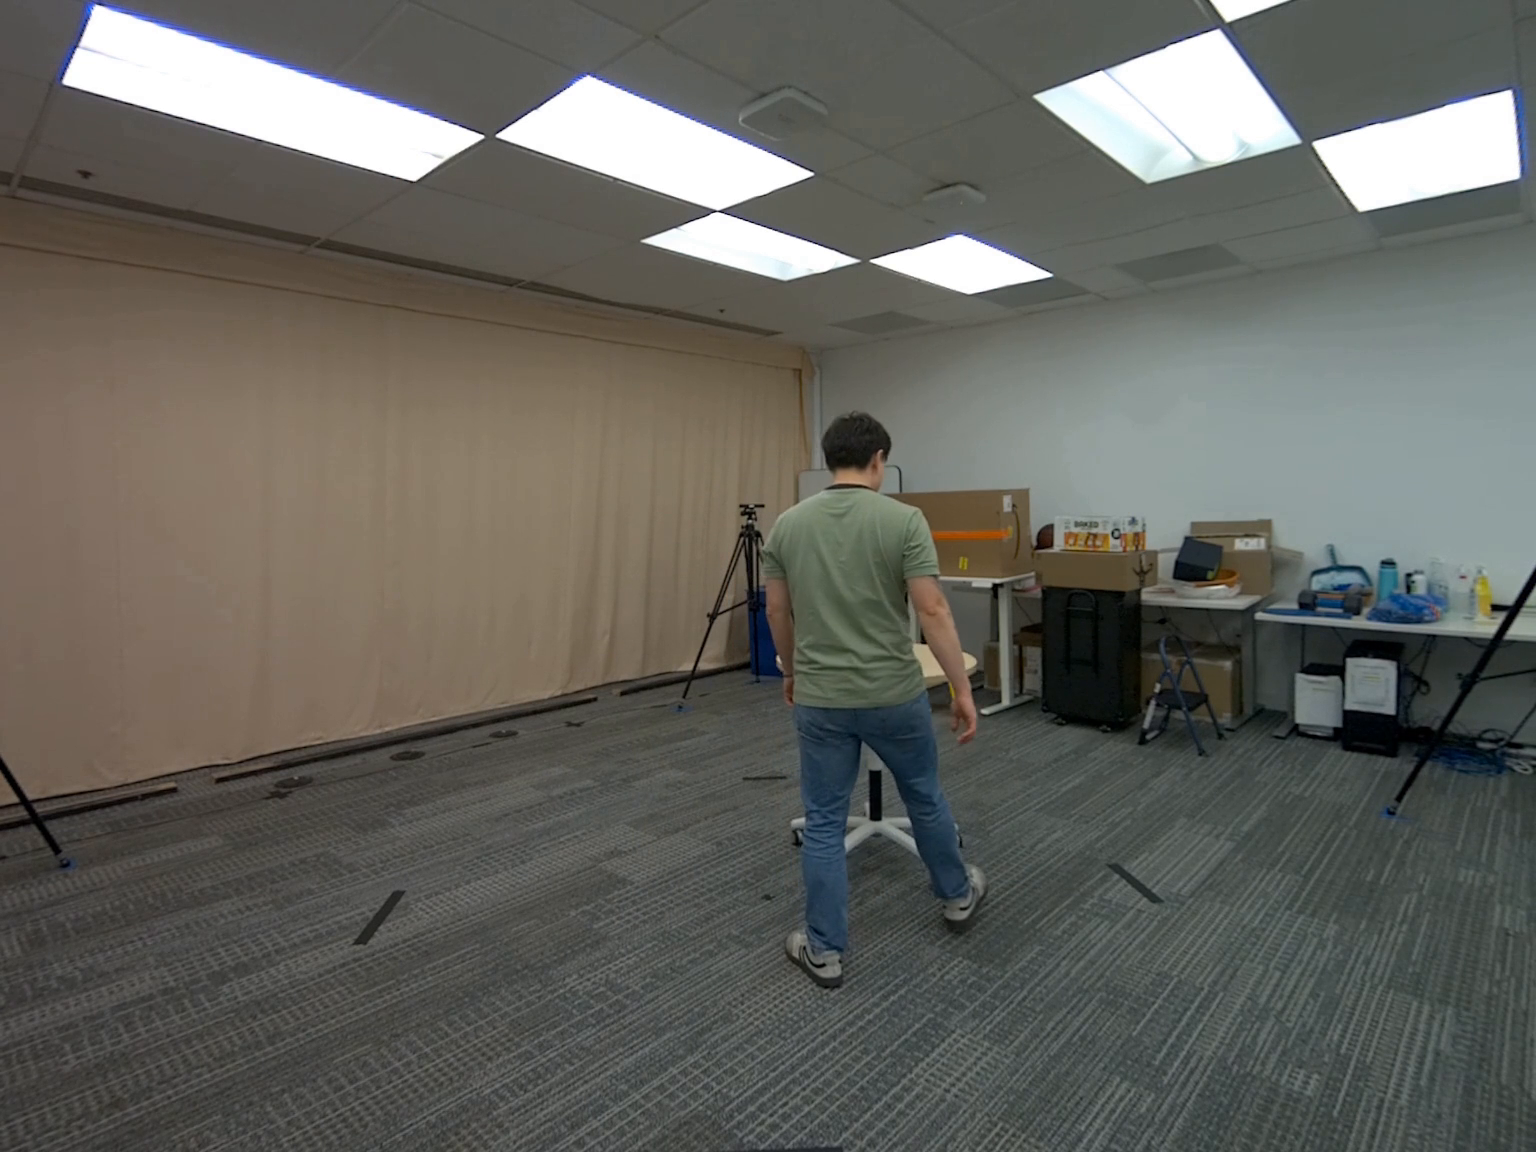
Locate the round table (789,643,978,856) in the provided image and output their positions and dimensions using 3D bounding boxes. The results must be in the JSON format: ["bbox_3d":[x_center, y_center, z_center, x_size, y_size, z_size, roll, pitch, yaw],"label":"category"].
[{"bbox_3d":[0.426,0.714,3.311,0.763,0.792,0.767,-1,4,-2],"label":"round table"}]
